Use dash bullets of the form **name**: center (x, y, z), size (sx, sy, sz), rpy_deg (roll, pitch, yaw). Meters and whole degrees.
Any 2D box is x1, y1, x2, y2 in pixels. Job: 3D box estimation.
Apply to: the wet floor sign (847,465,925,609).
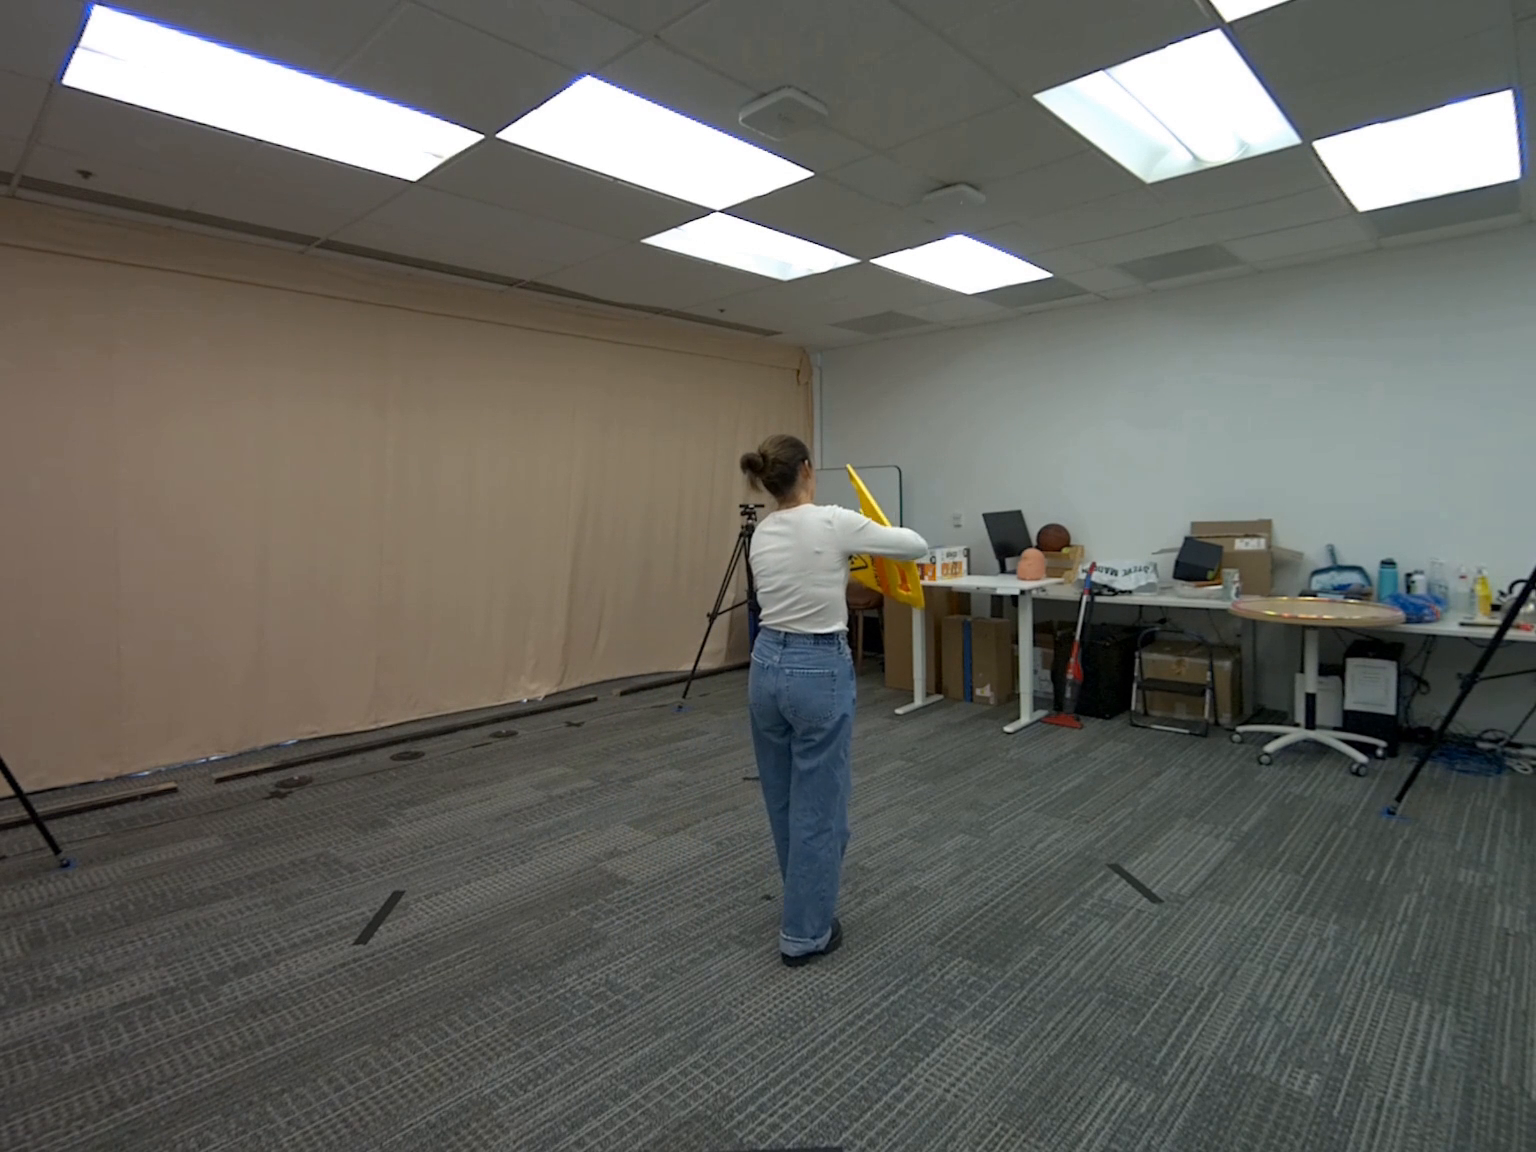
- **wet floor sign**: center (0.346, -0.104, 2.930), size (0.288, 0.275, 0.667), rpy_deg (-27, 34, -9)
